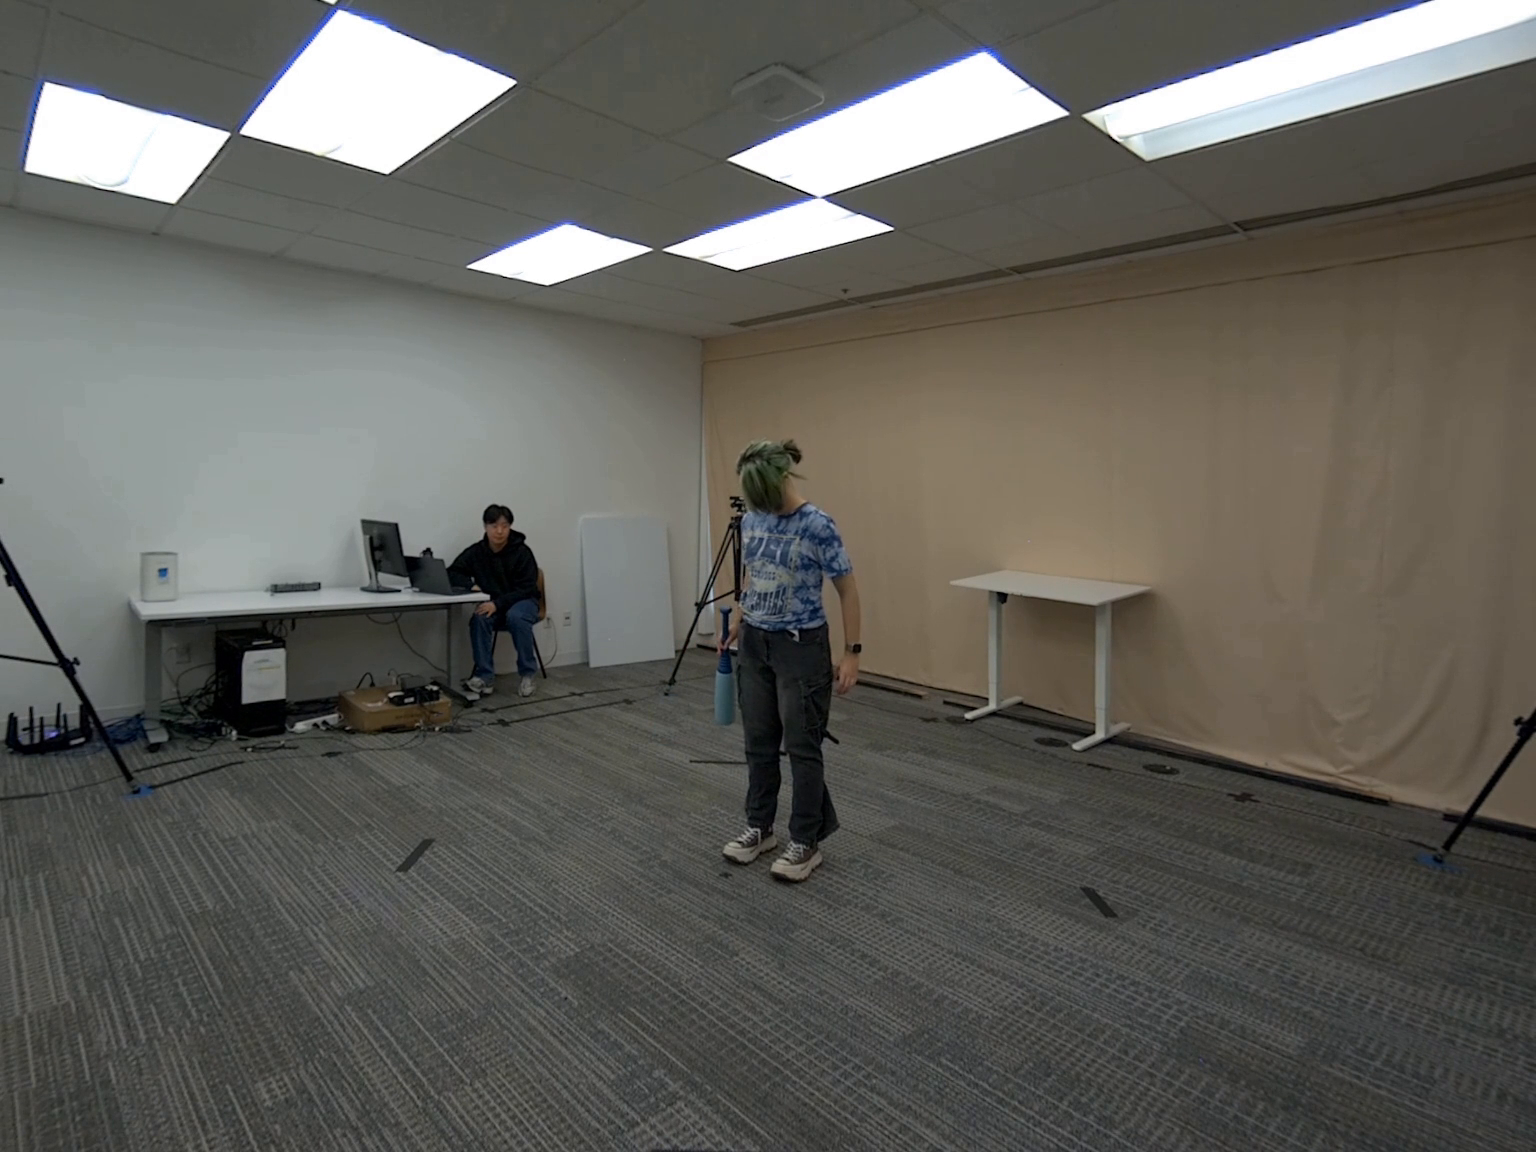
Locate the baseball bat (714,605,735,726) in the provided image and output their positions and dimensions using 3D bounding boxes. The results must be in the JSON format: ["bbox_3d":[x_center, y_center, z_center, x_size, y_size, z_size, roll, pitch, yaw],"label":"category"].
[{"bbox_3d":[-0.181,0.374,3.462,0.089,0.535,0.090,2,21,-2],"label":"baseball bat"}]
